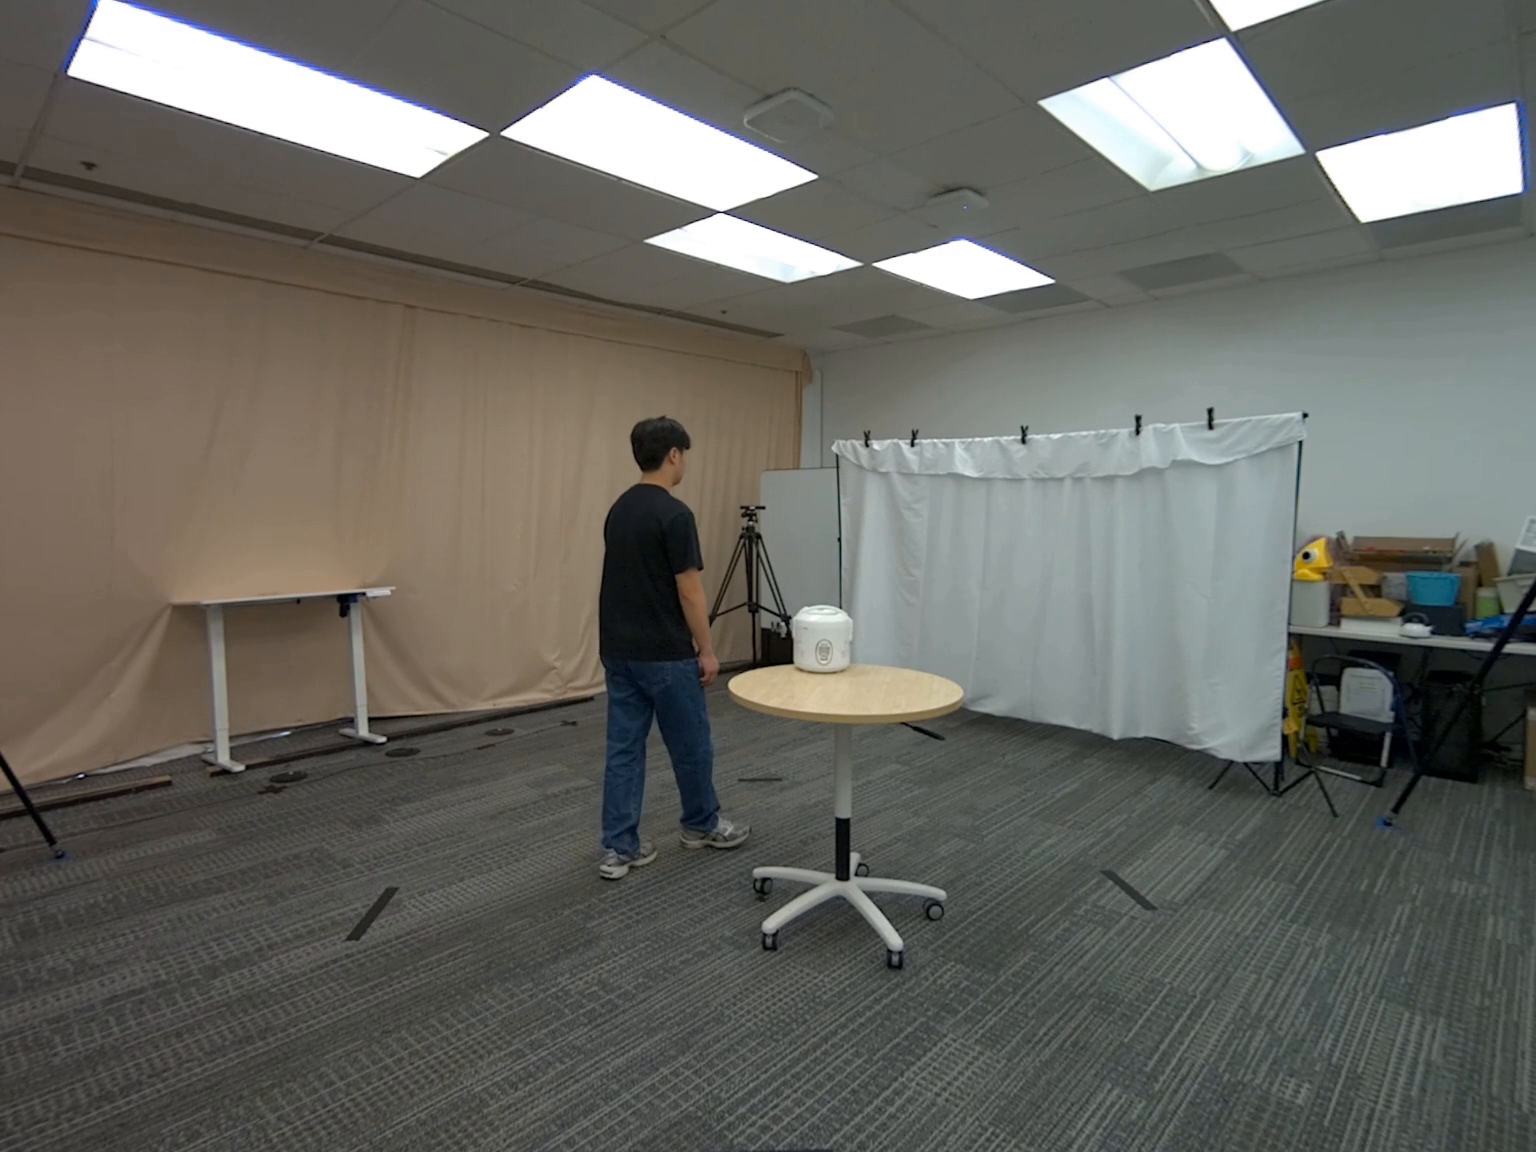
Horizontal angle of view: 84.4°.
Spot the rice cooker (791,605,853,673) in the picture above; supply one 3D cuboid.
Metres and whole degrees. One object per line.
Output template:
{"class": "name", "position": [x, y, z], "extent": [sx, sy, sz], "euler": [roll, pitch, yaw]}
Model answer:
{"class": "rice cooker", "position": [0.203, 0.221, 3.057], "extent": [0.221, 0.232, 0.217], "euler": [0, 3, 0]}
